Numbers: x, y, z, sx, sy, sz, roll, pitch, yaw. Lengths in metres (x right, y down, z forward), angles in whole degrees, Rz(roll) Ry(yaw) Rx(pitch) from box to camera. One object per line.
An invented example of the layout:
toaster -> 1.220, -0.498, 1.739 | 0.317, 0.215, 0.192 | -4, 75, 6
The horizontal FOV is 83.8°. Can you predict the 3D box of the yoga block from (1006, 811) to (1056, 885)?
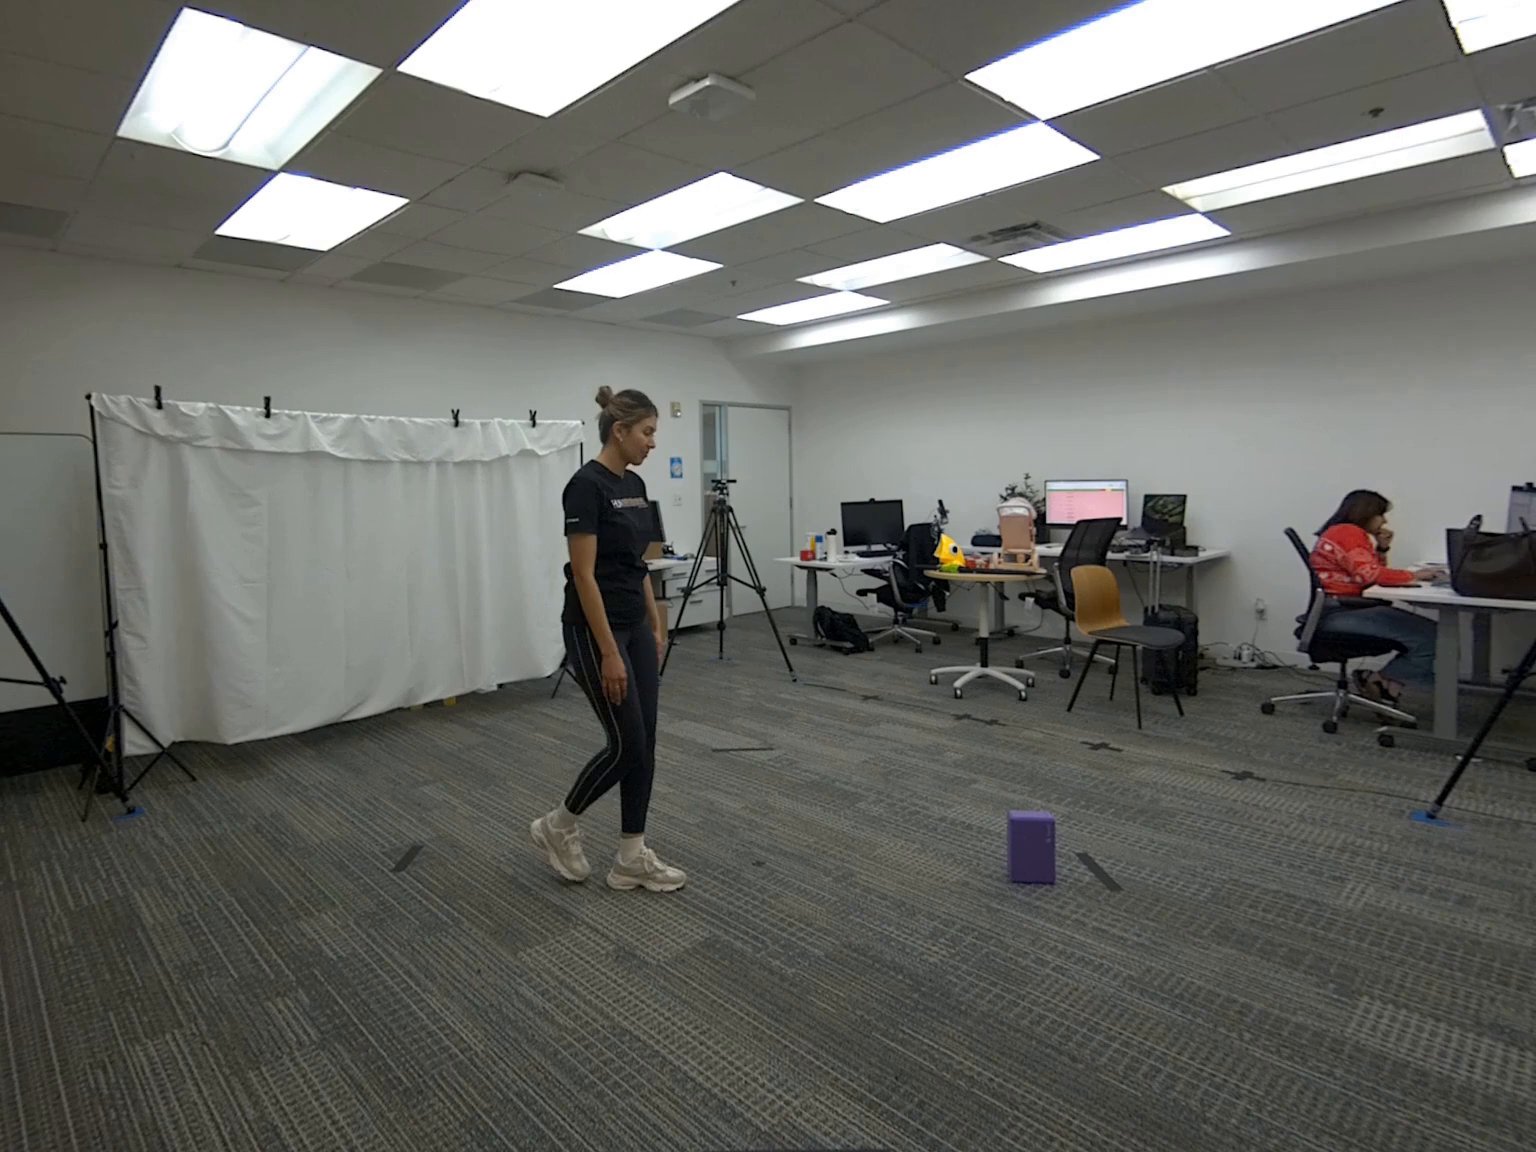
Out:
yoga block -> 0.911, 0.937, 2.939 | 0.150, 0.228, 0.076 | -1, 4, 8
